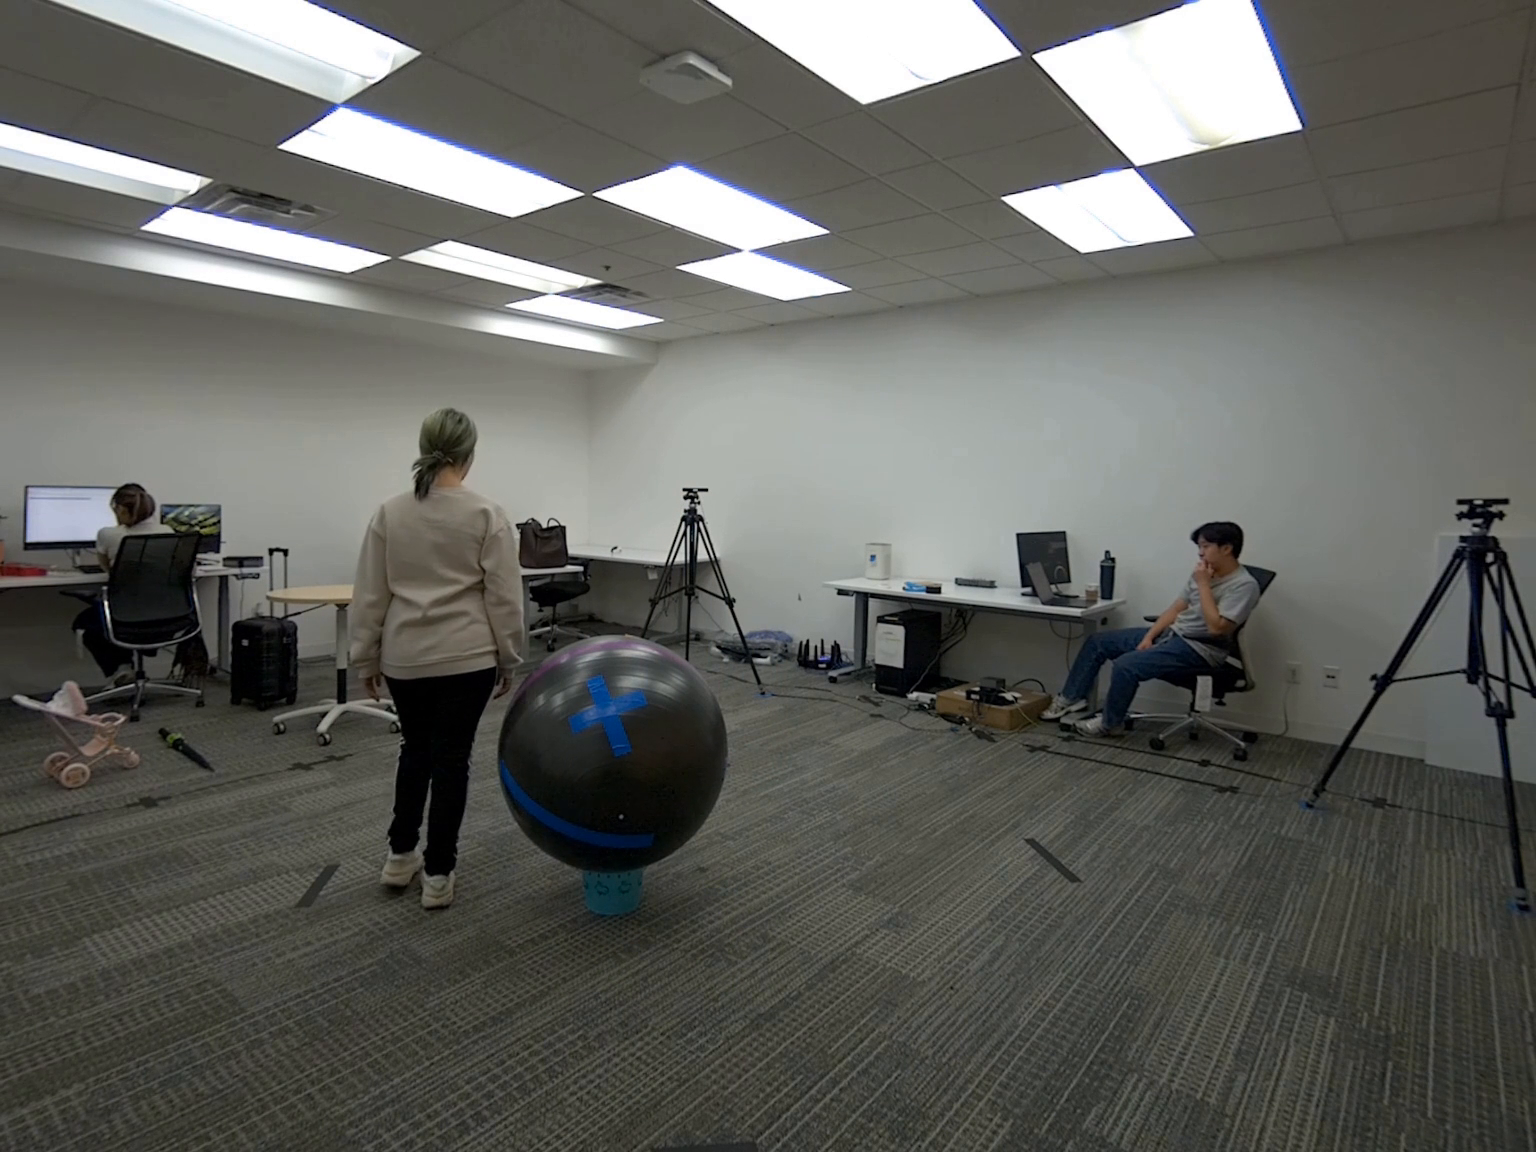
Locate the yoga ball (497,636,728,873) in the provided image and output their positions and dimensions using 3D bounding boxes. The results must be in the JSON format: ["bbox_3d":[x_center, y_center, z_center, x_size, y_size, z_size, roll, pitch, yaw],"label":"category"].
[{"bbox_3d":[-0.519,0.582,2.830,0.757,0.755,0.762,1,4,-2],"label":"yoga ball"}]
